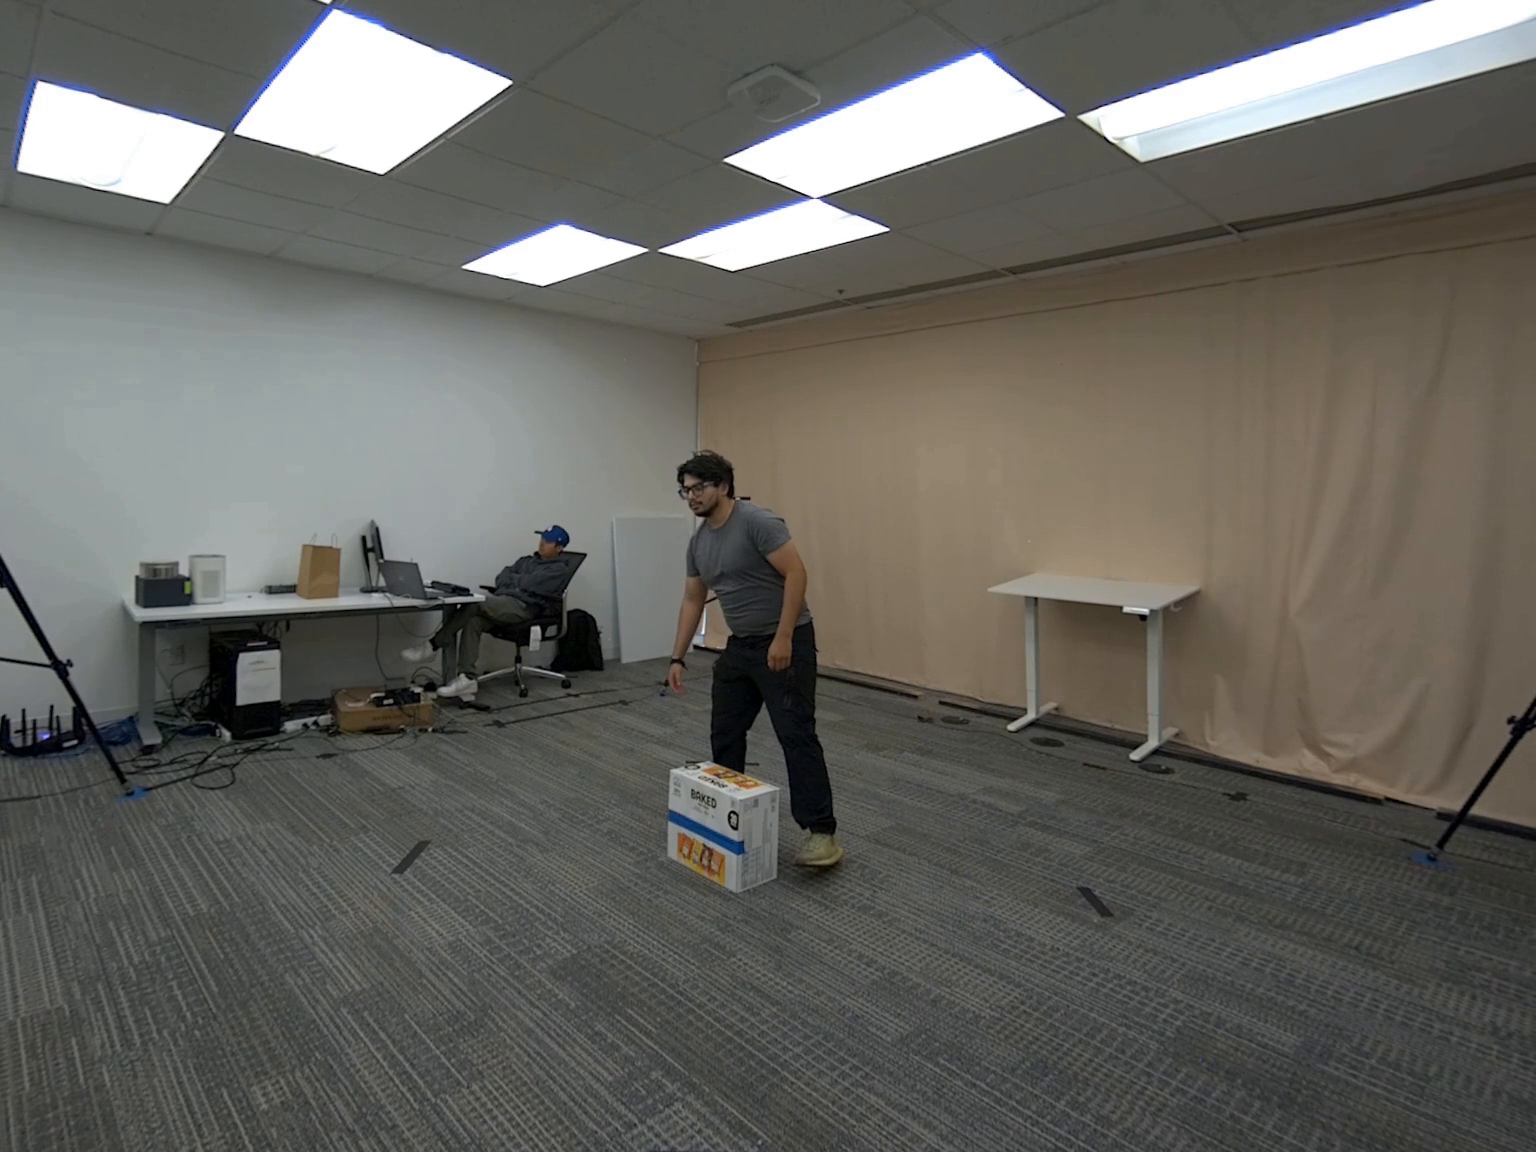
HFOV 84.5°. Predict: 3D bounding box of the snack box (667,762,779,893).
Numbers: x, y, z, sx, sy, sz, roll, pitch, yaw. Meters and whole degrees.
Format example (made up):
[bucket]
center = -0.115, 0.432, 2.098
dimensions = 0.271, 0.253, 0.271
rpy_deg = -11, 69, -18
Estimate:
[snack box]
center = -0.179, 0.932, 3.163
dimensions = 0.201, 0.339, 0.415
rpy_deg = -2, 5, -44
